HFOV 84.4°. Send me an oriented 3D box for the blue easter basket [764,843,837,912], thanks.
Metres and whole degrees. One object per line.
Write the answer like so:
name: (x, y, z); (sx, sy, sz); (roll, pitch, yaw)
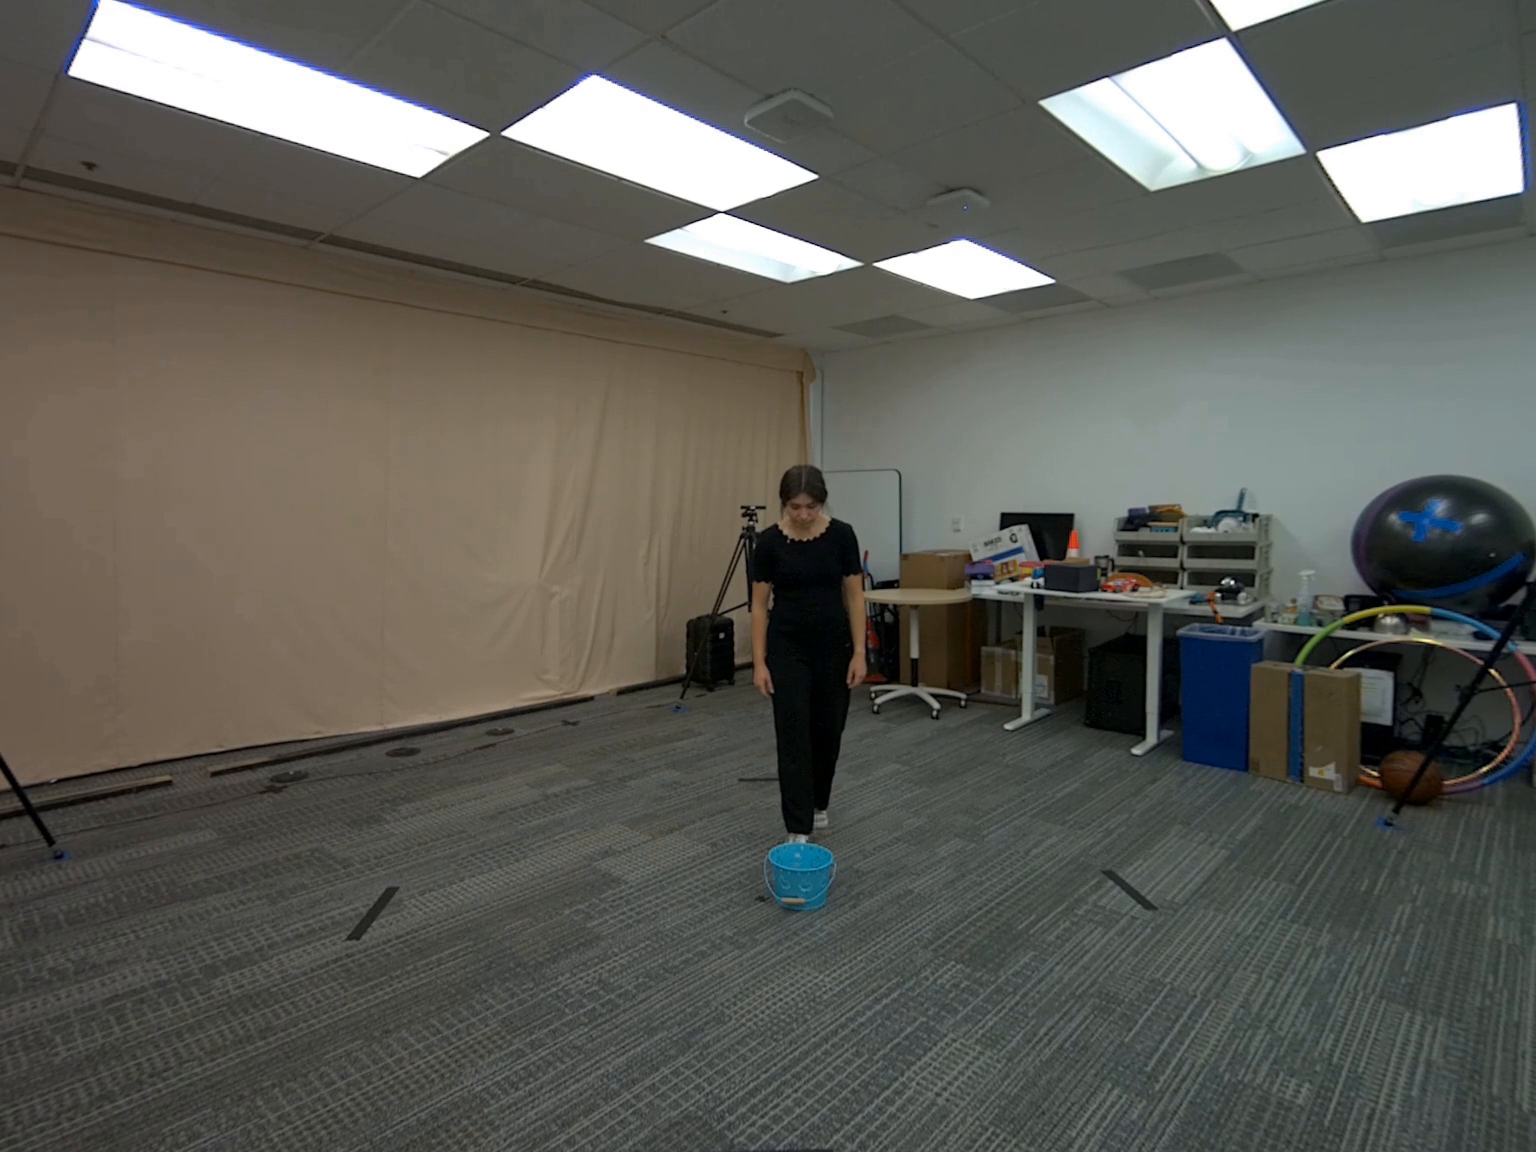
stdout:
blue easter basket: (0.111, 1.059, 2.984); (0.243, 0.155, 0.244); (1, 4, -2)
